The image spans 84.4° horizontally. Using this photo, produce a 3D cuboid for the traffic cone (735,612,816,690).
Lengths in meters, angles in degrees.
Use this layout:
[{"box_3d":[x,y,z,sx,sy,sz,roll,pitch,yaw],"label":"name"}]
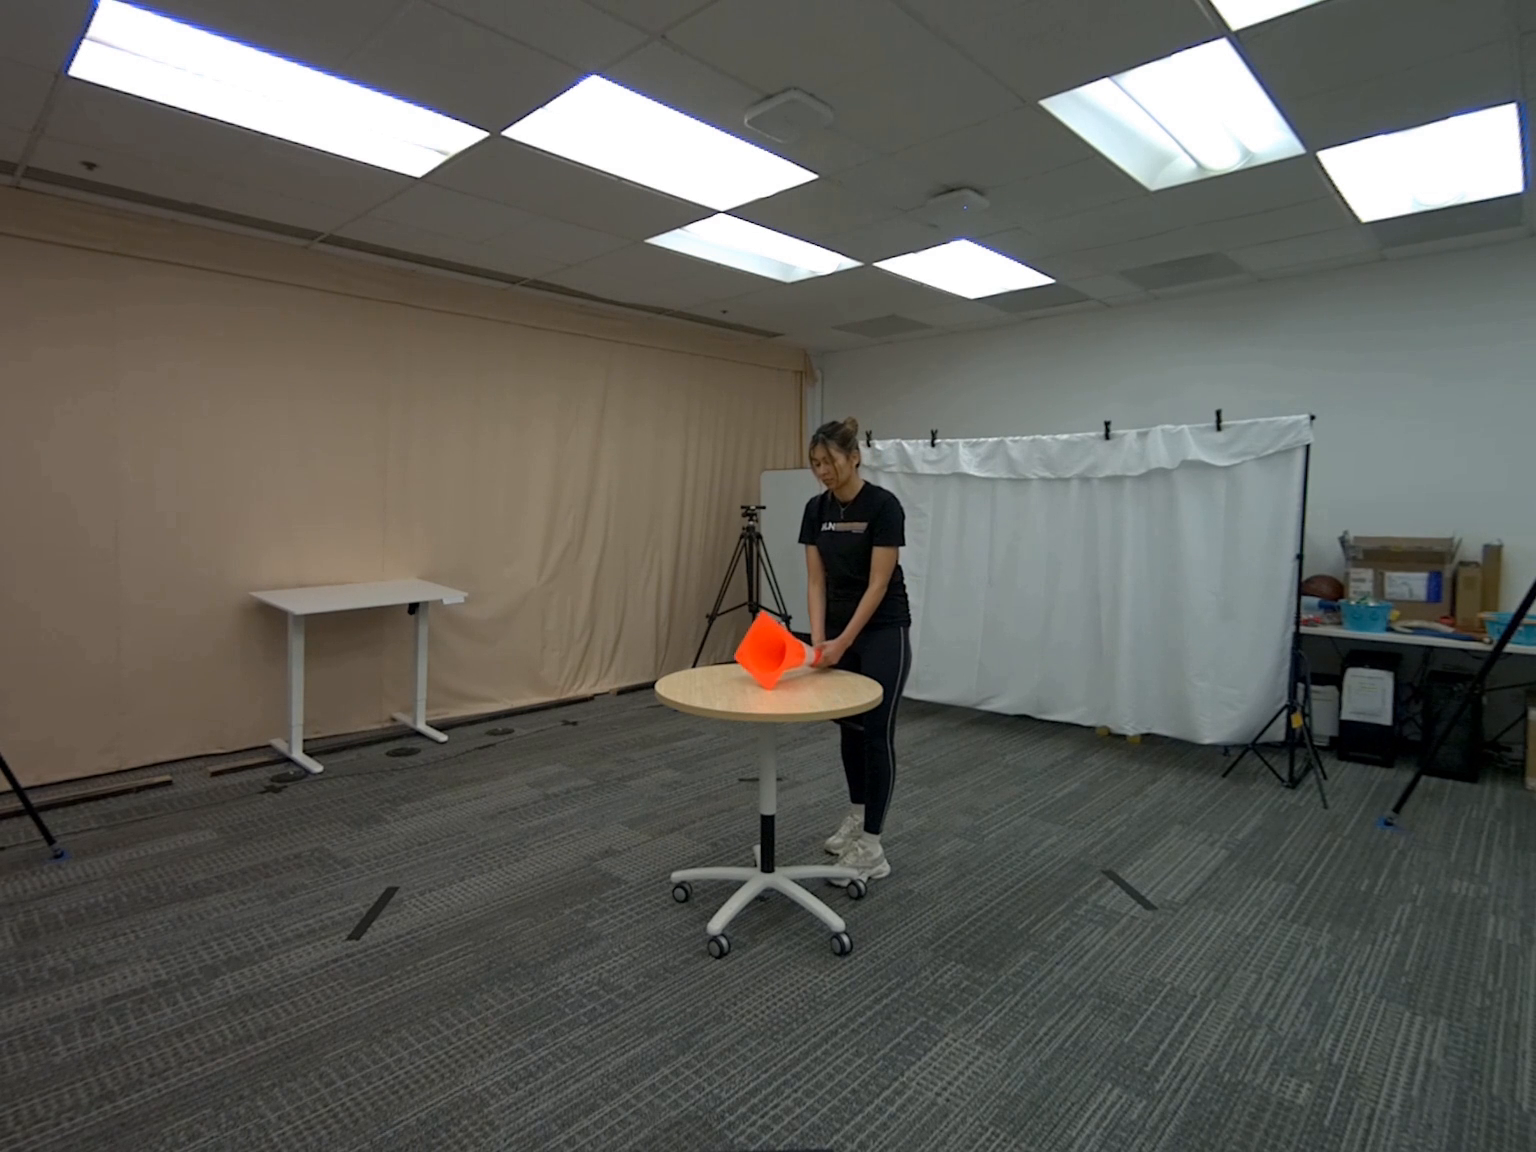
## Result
[{"box_3d":[0.103,0.284,2.959,0.210,0.205,0.370,39,13,36],"label":"traffic cone"}]
